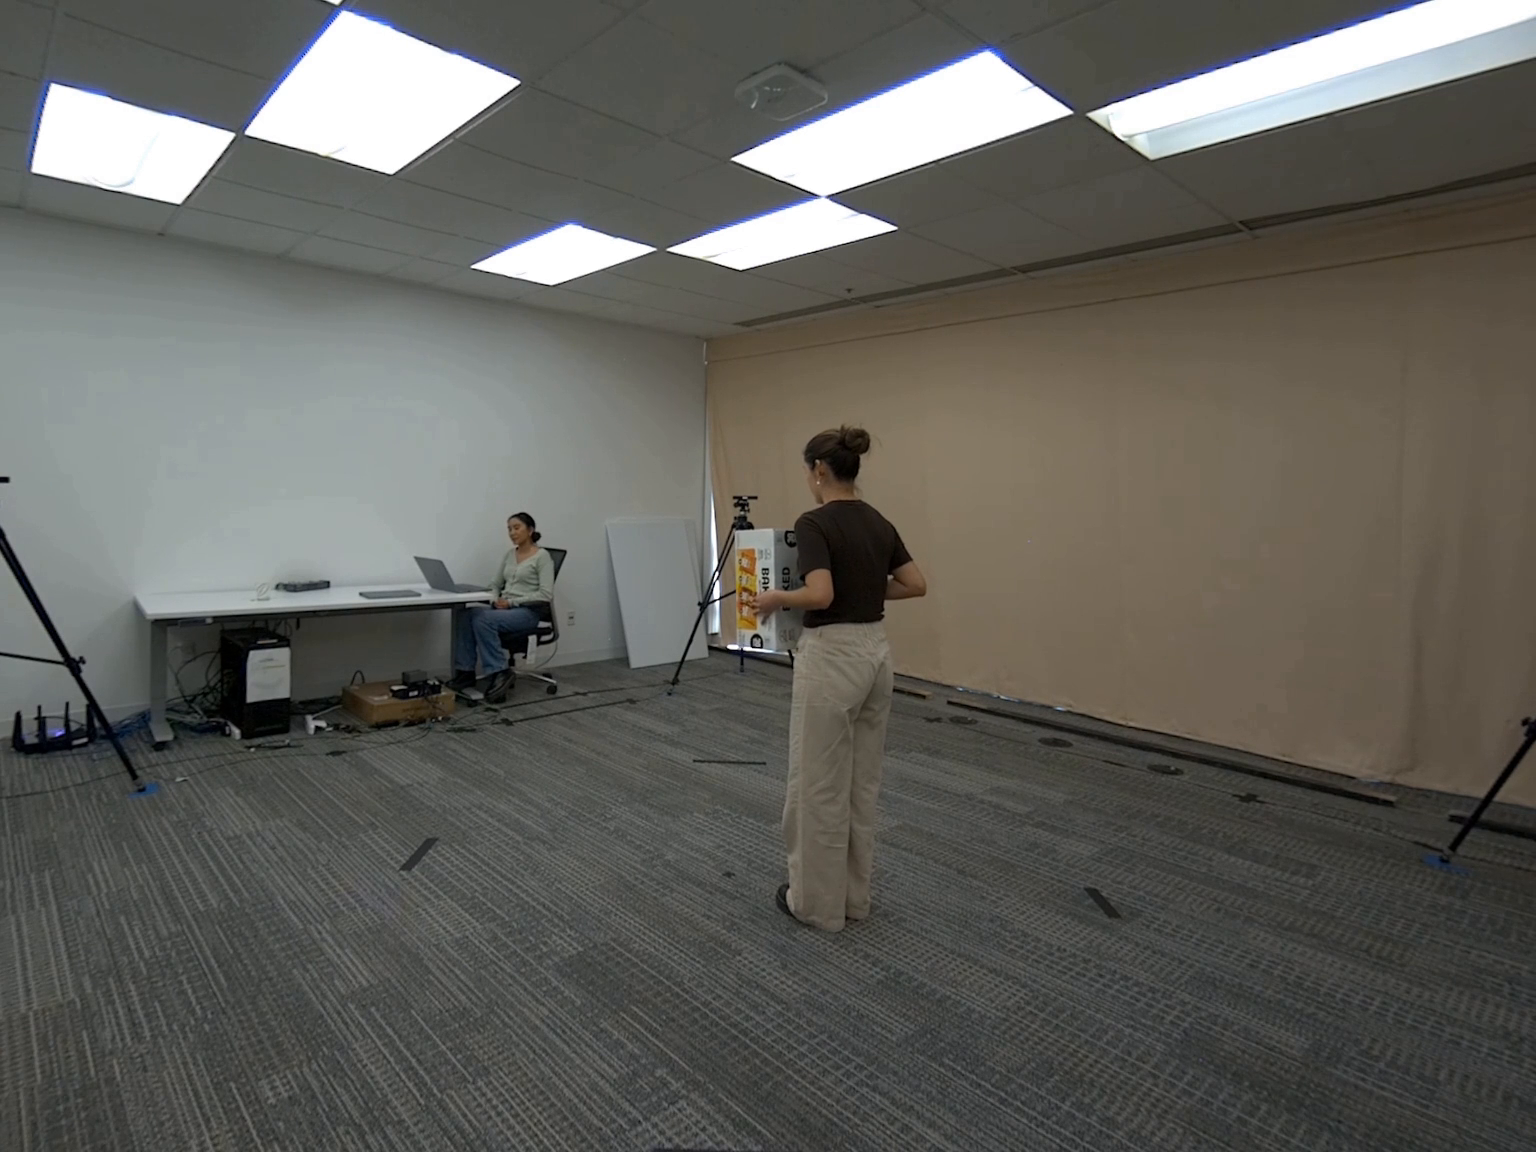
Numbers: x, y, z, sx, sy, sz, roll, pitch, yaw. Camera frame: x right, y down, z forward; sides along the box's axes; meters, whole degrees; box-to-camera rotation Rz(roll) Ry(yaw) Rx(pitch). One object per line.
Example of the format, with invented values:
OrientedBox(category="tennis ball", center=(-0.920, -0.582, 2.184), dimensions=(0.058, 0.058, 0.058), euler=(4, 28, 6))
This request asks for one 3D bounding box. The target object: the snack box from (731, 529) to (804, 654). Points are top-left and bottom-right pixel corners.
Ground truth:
OrientedBox(category="snack box", center=(0.071, 0.046, 2.953), dimensions=(0.332, 0.406, 0.210), euler=(0, -2, -40))
